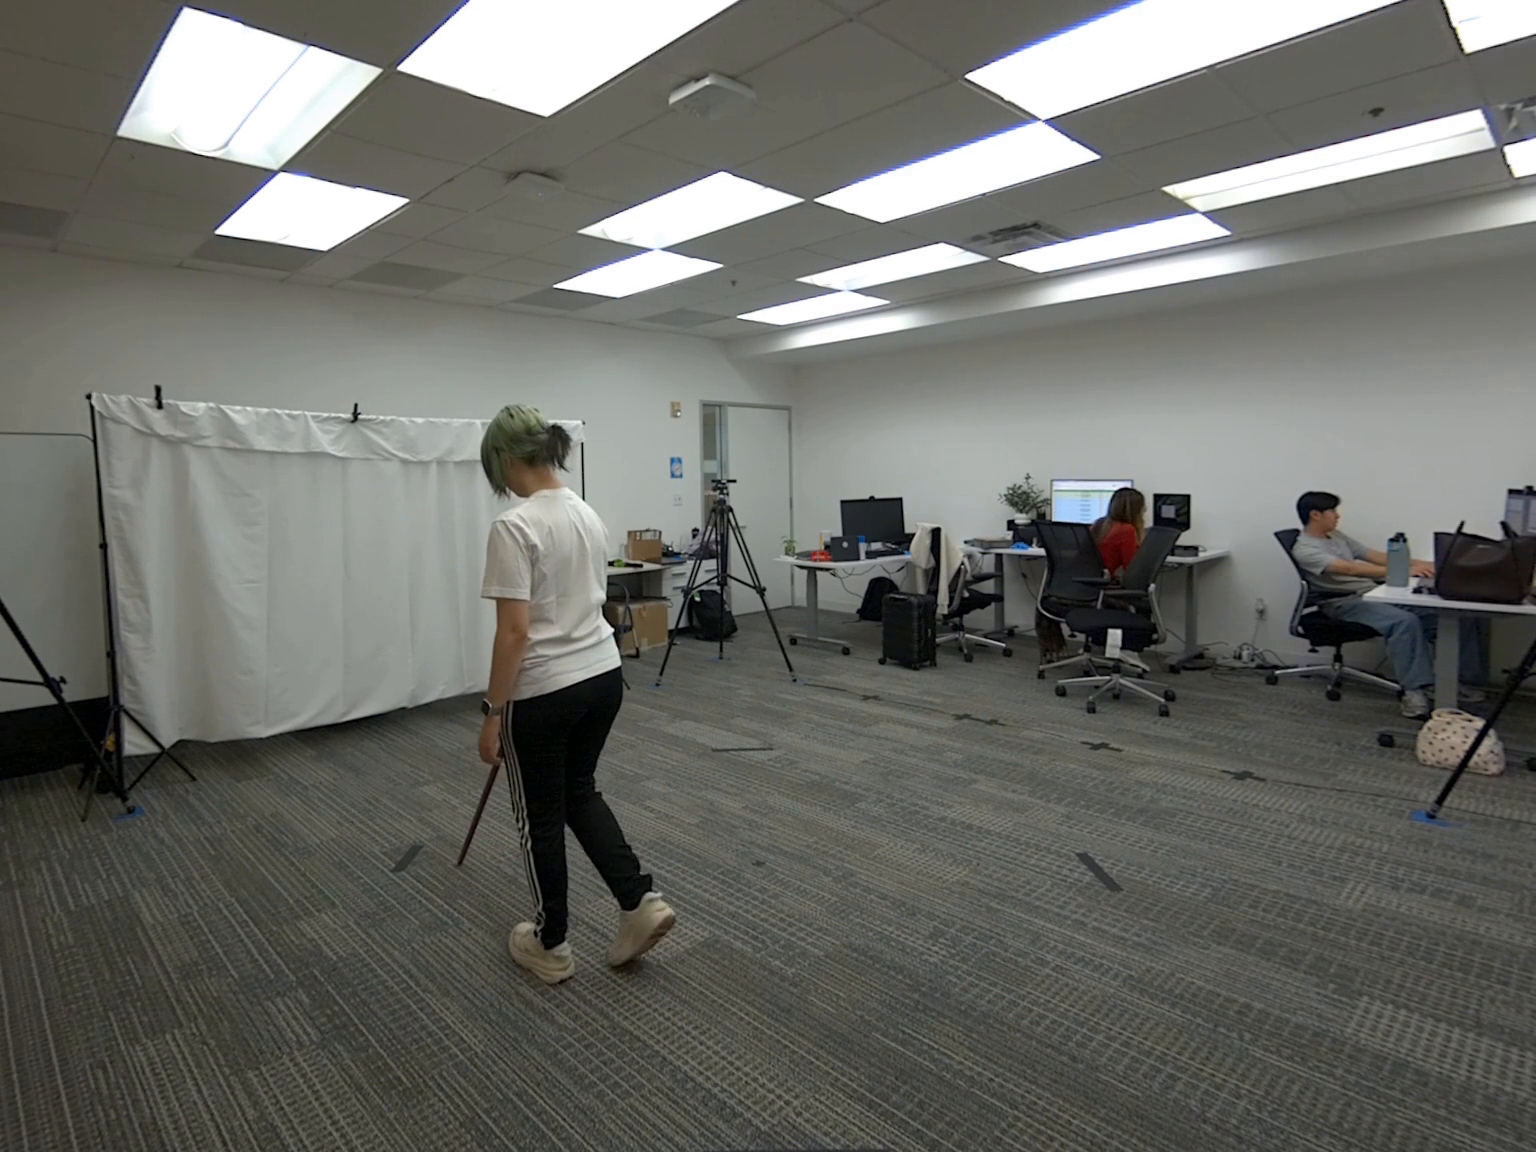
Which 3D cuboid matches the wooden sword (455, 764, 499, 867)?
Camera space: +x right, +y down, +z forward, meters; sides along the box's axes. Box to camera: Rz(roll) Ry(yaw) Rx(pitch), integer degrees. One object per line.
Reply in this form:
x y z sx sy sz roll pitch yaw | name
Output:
-0.952 0.723 2.866 0.023 1.014 0.053 10 42 -23 | wooden sword
